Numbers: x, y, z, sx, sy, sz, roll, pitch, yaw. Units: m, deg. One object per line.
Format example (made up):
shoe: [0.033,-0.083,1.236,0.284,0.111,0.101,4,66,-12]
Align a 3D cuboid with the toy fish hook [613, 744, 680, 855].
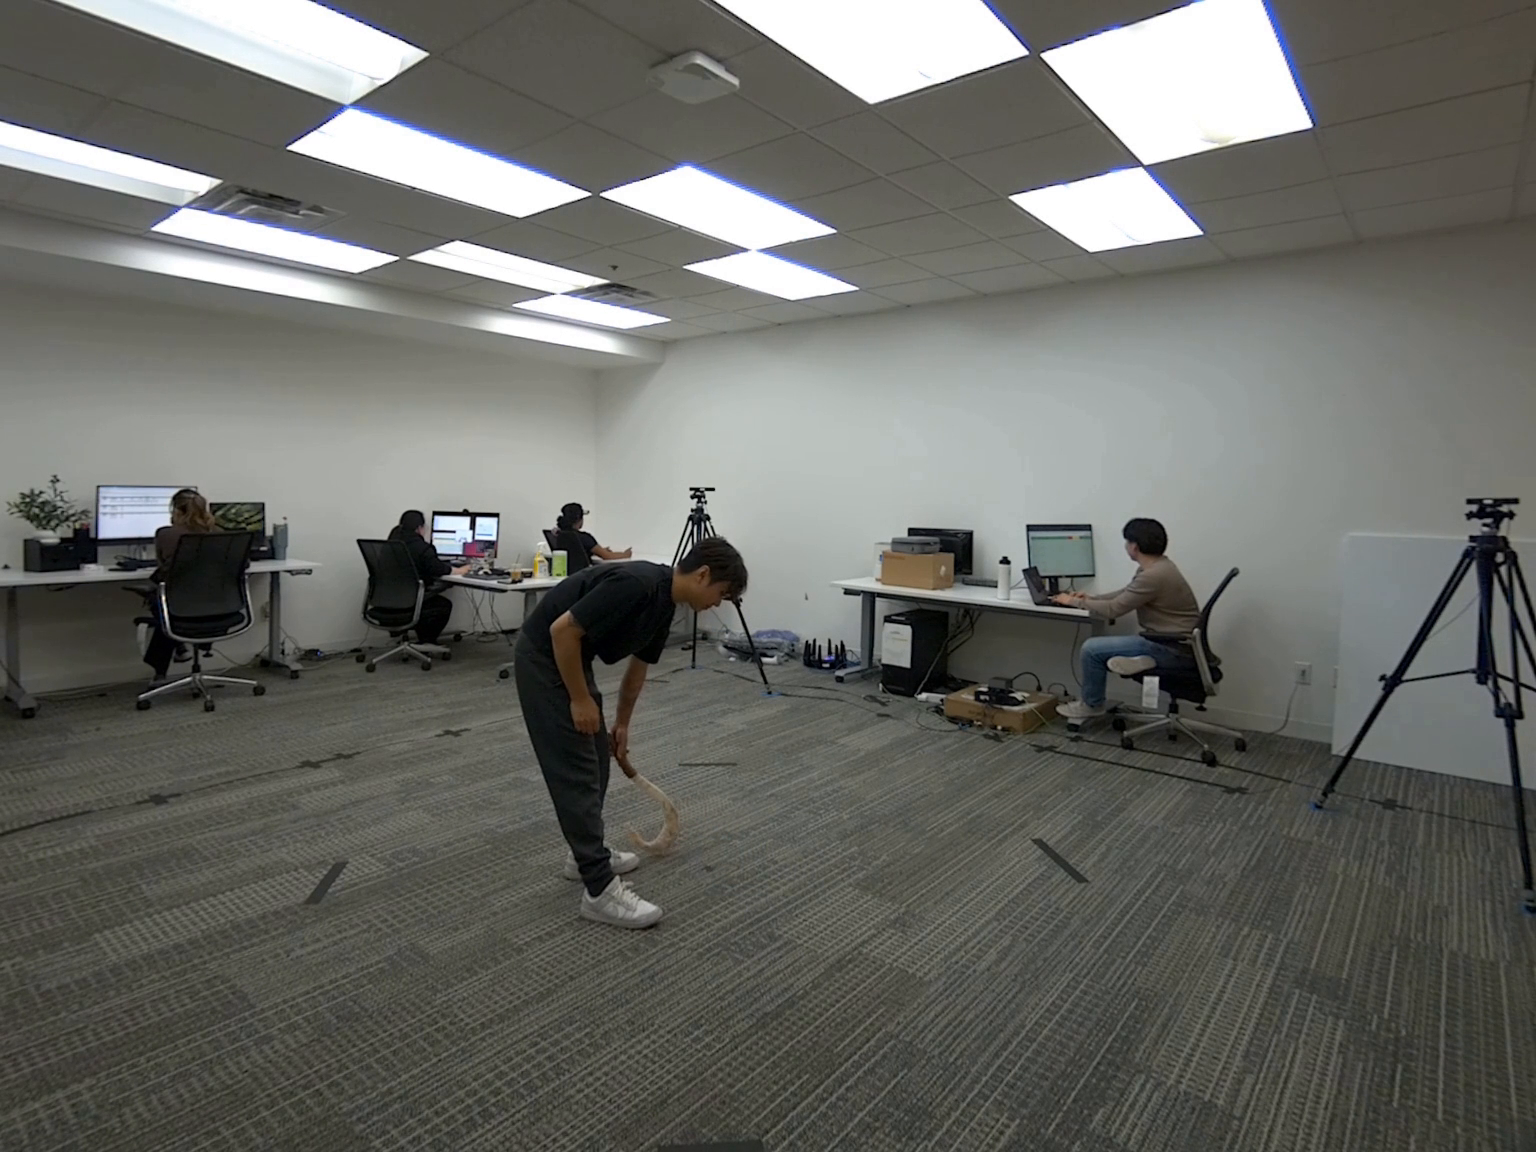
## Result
toy fish hook: [-0.509,0.823,3.200,0.049,0.500,0.224,-25,13,45]
